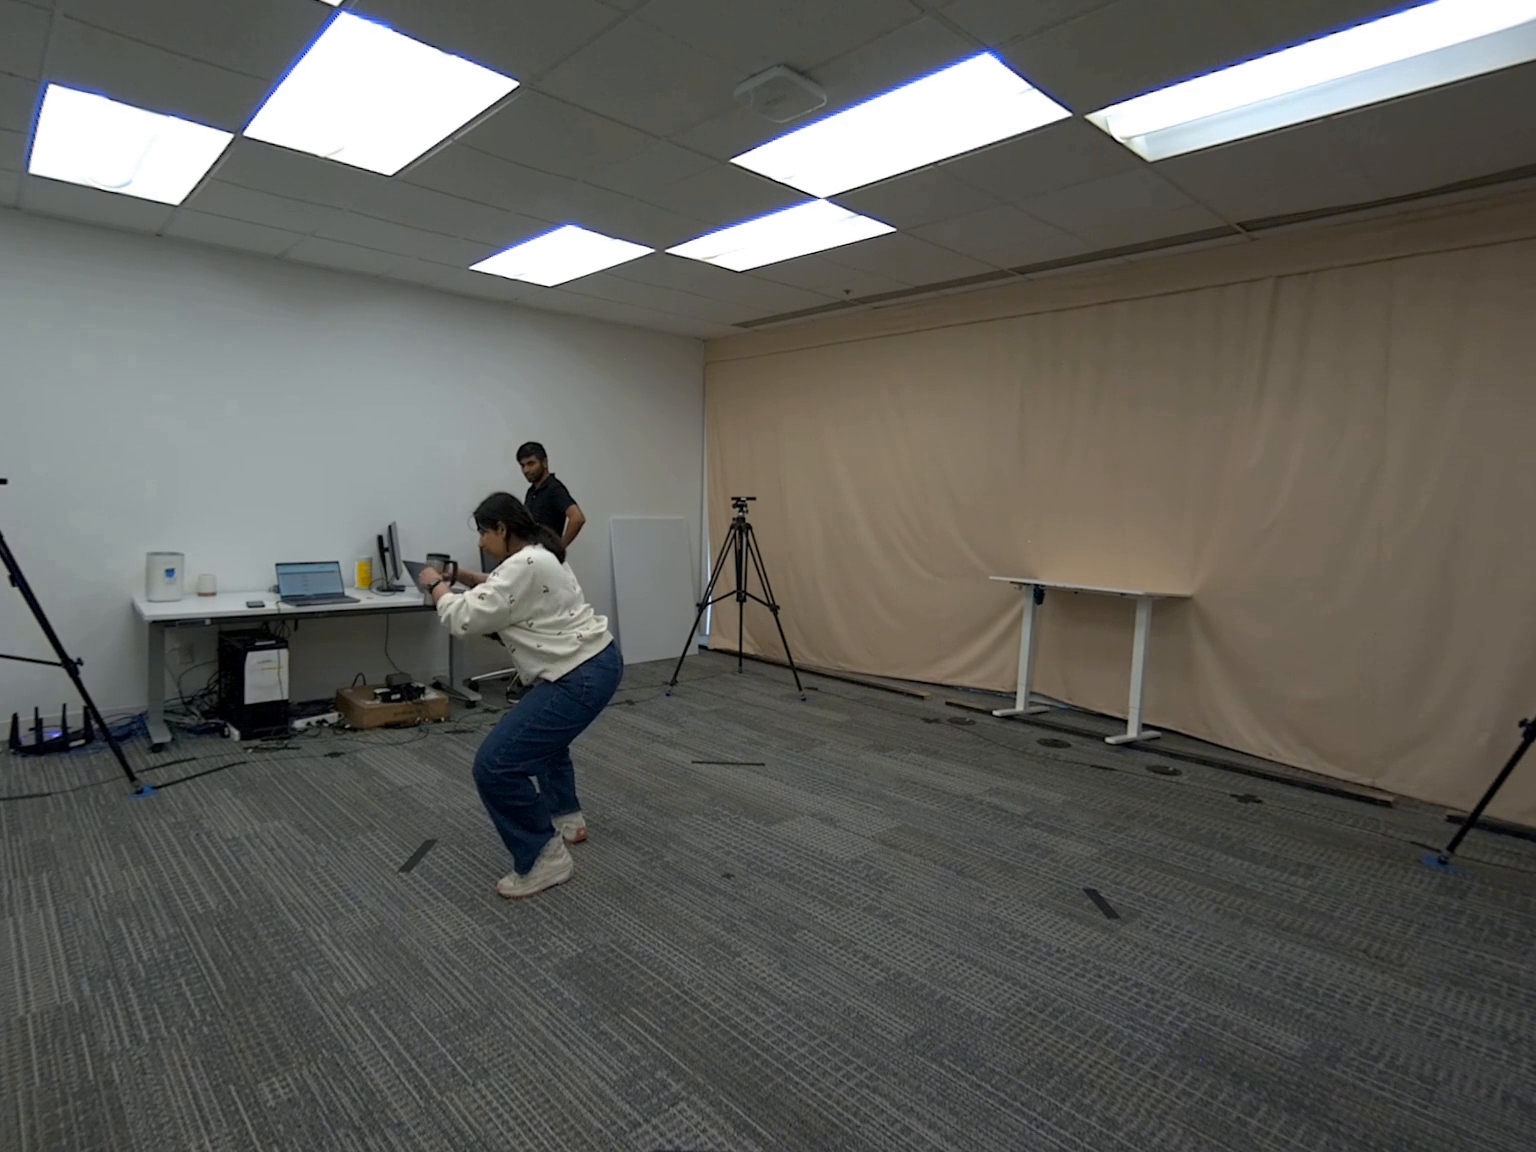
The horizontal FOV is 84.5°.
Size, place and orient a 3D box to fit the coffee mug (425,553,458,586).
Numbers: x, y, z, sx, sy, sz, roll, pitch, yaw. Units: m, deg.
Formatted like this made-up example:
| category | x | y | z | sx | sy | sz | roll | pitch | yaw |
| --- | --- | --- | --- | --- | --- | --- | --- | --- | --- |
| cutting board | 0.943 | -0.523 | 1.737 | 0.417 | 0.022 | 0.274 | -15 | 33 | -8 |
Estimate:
| category | x | y | z | sx | sy | sz | roll | pitch | yaw |
| --- | --- | --- | --- | --- | --- | --- | --- | --- | --- |
| coffee mug | -1.255 | 0.024 | 3.161 | 0.119 | 0.203 | 0.089 | 7 | -5 | -24 |
